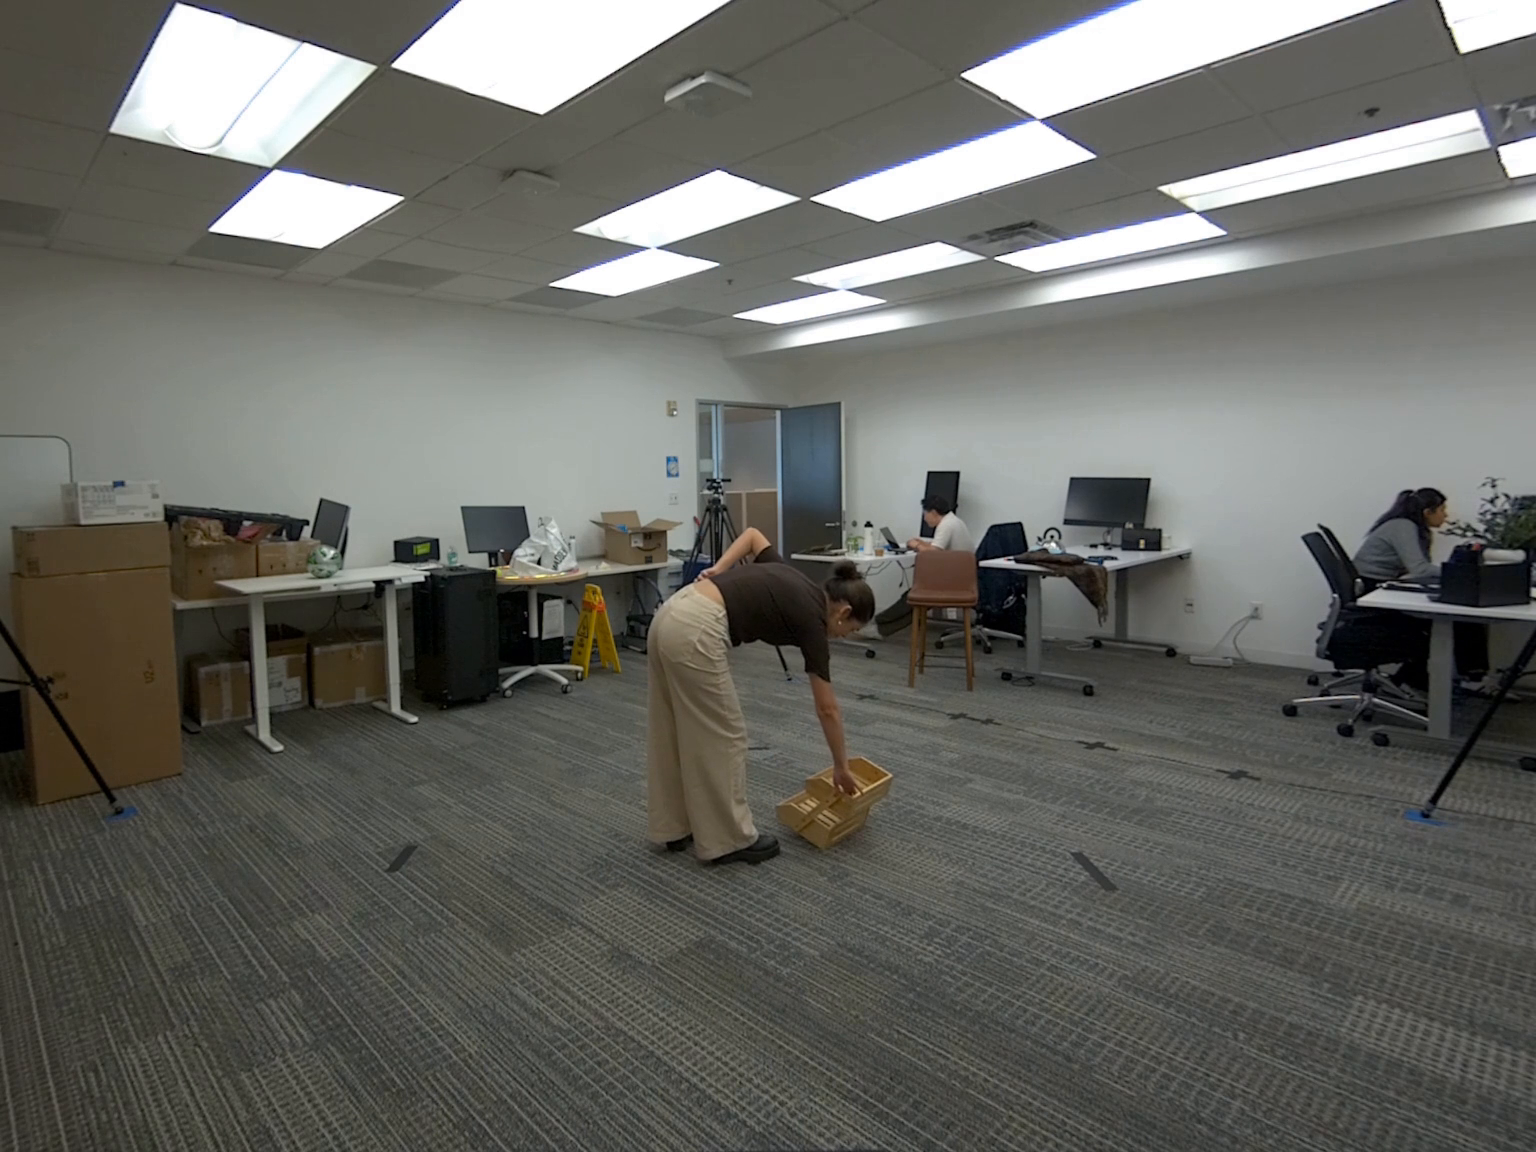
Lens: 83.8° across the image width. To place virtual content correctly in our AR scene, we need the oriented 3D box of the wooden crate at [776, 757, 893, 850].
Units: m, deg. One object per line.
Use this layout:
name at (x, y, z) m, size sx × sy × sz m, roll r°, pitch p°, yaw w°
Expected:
wooden crate at (0.259, 0.856, 3.341) m, size 0.313 × 0.270 × 0.316 m, roll 25°, pitch 21°, yaw 34°
